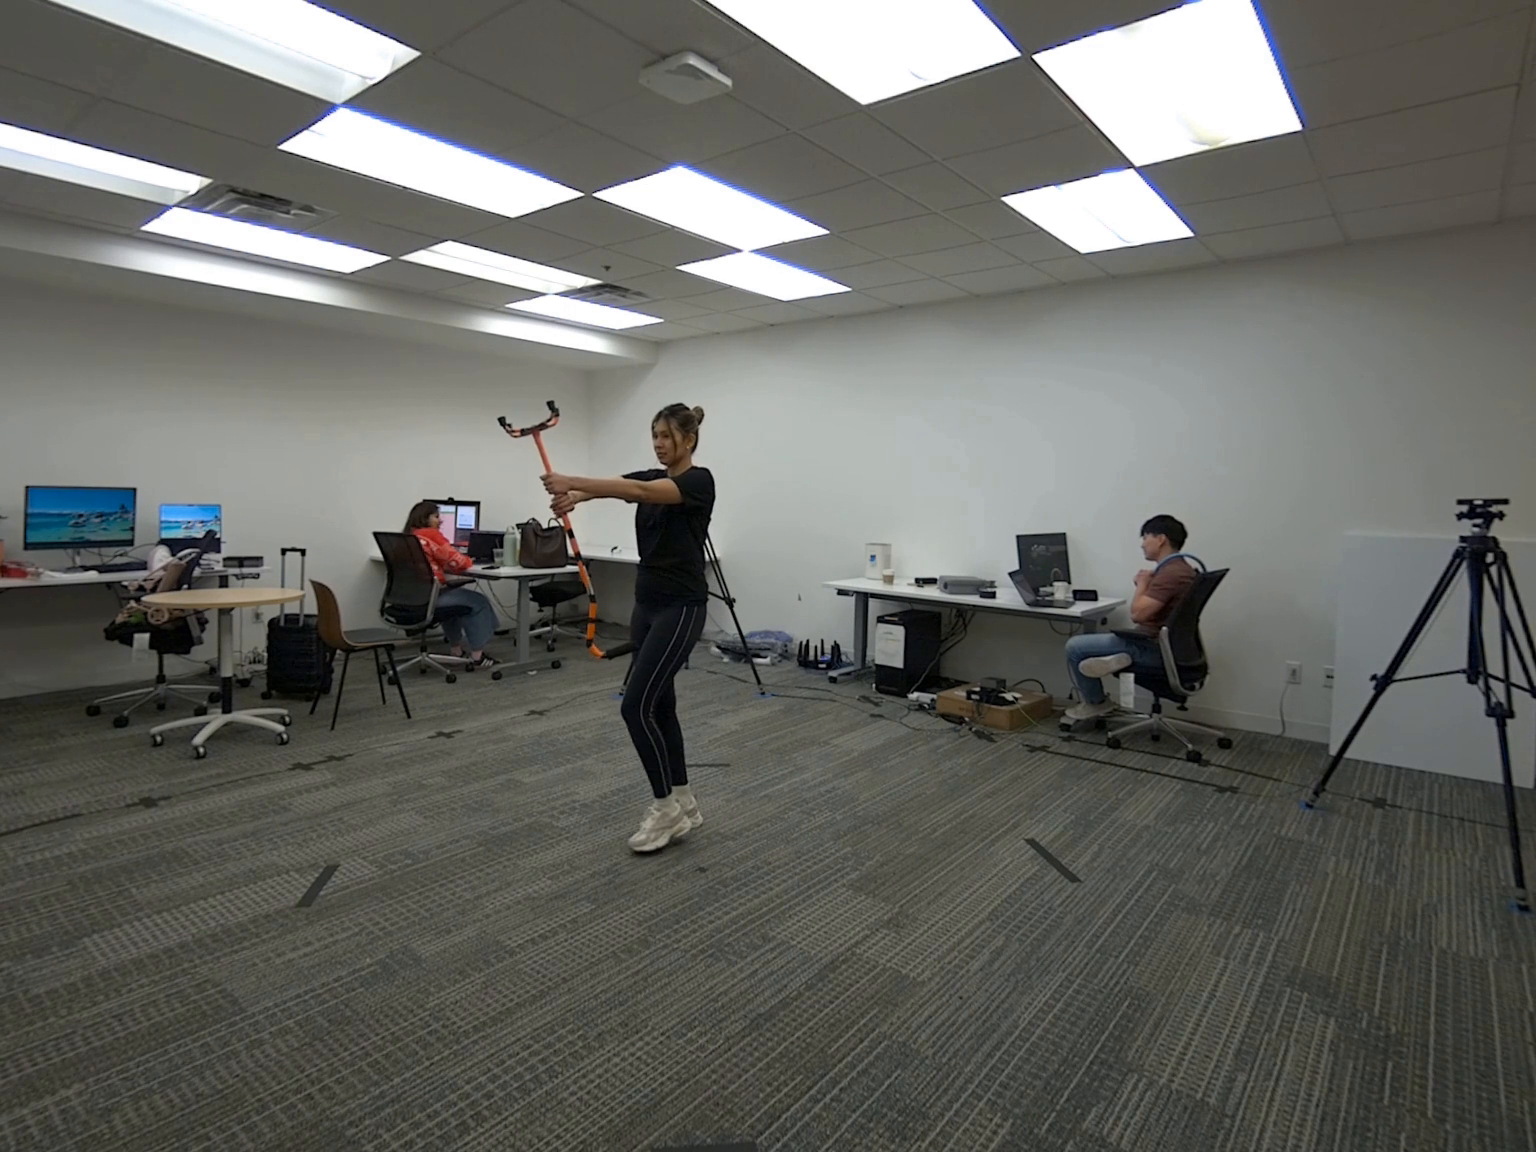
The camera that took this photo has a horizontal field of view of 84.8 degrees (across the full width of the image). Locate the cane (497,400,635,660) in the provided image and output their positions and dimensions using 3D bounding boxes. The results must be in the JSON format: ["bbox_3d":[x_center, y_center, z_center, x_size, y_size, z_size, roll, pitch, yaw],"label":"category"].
[{"bbox_3d":[-0.719,-0.149,2.967,0.206,0.912,0.151,-20,-4,-5],"label":"cane"}]
